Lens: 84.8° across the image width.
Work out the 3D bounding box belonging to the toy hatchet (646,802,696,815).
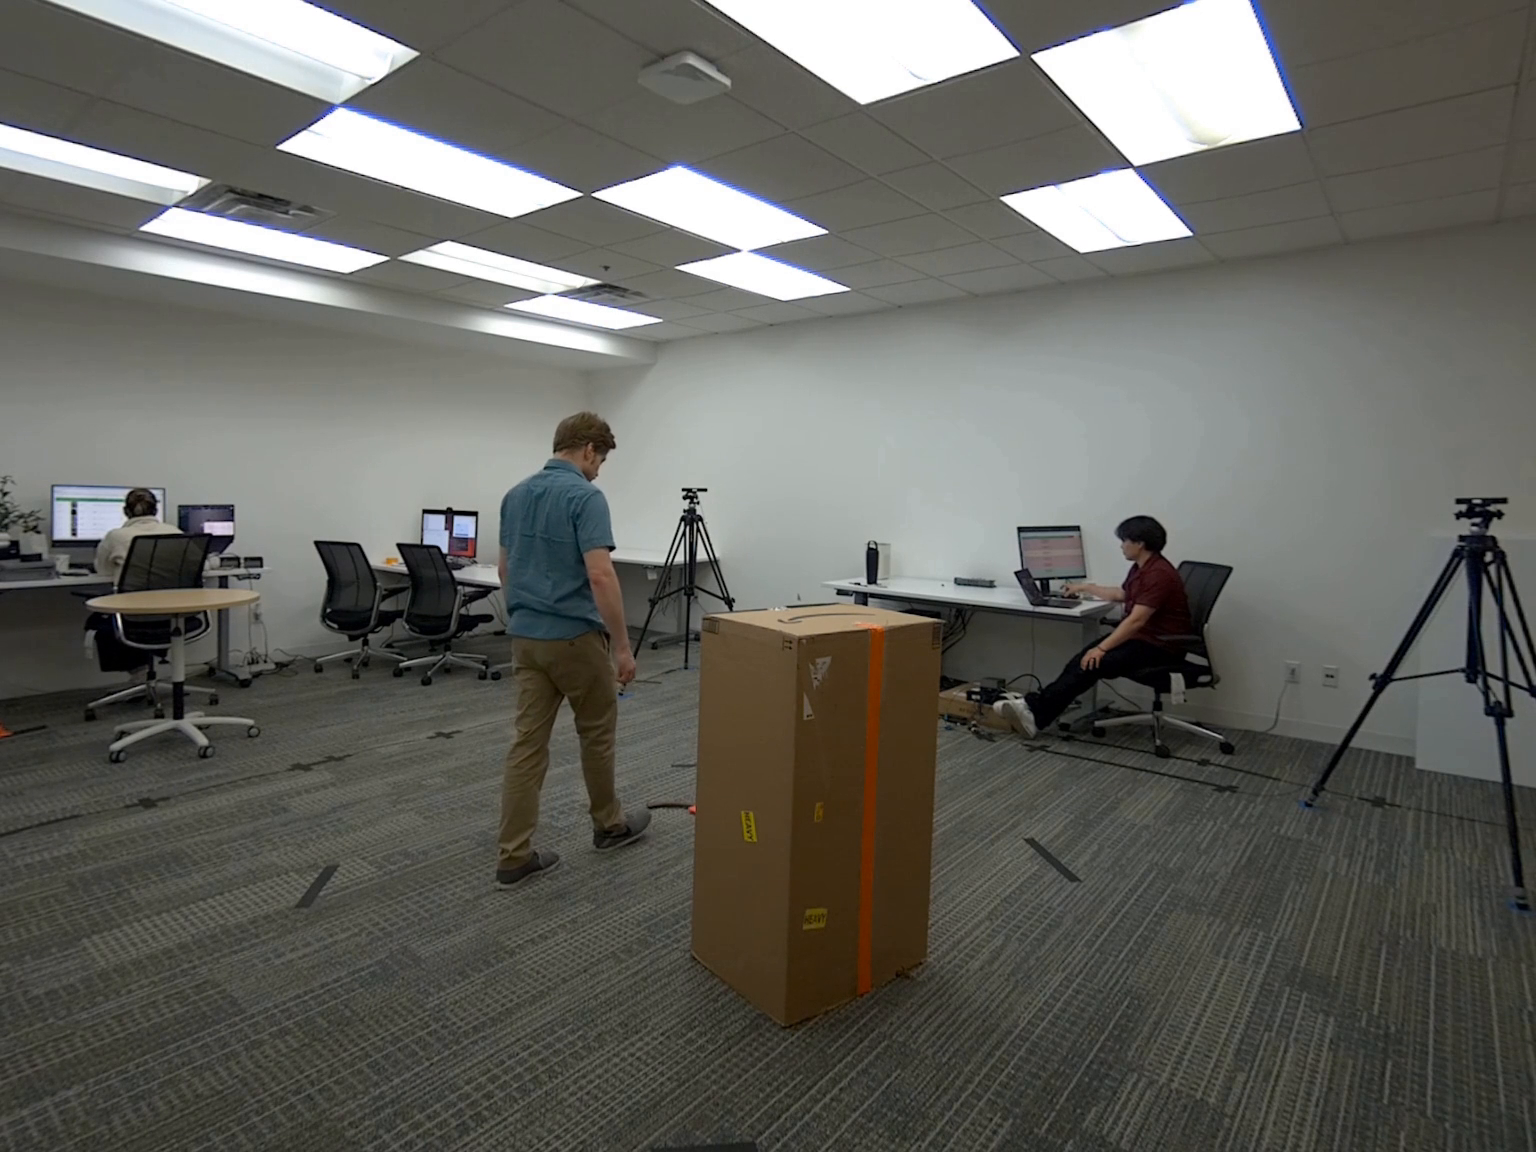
[{"bbox_3d":[-0.402,1.001,3.679,0.268,0.029,0.133,-2,10,-9],"label":"toy hatchet"}]
